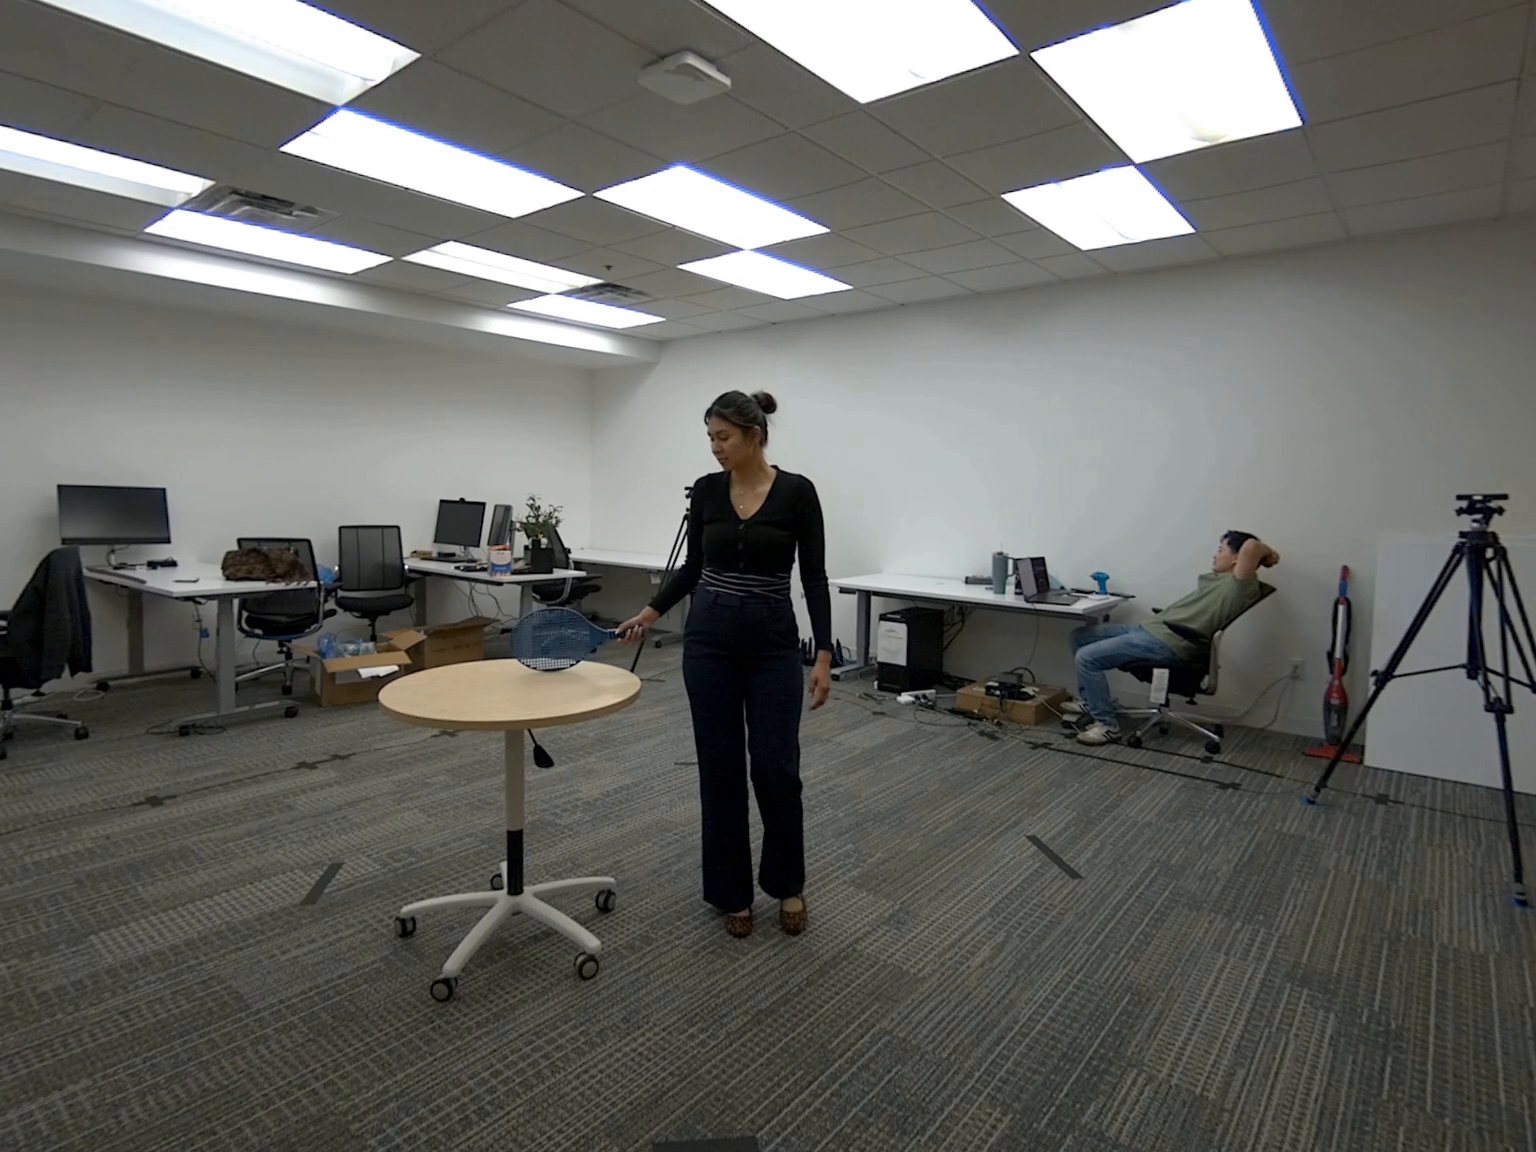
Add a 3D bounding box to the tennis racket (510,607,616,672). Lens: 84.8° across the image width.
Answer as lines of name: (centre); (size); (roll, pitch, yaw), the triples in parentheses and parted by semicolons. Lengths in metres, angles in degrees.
tennis racket: (-0.630, 0.204, 2.746); (0.434, 0.213, 0.032); (2, 5, 3)
